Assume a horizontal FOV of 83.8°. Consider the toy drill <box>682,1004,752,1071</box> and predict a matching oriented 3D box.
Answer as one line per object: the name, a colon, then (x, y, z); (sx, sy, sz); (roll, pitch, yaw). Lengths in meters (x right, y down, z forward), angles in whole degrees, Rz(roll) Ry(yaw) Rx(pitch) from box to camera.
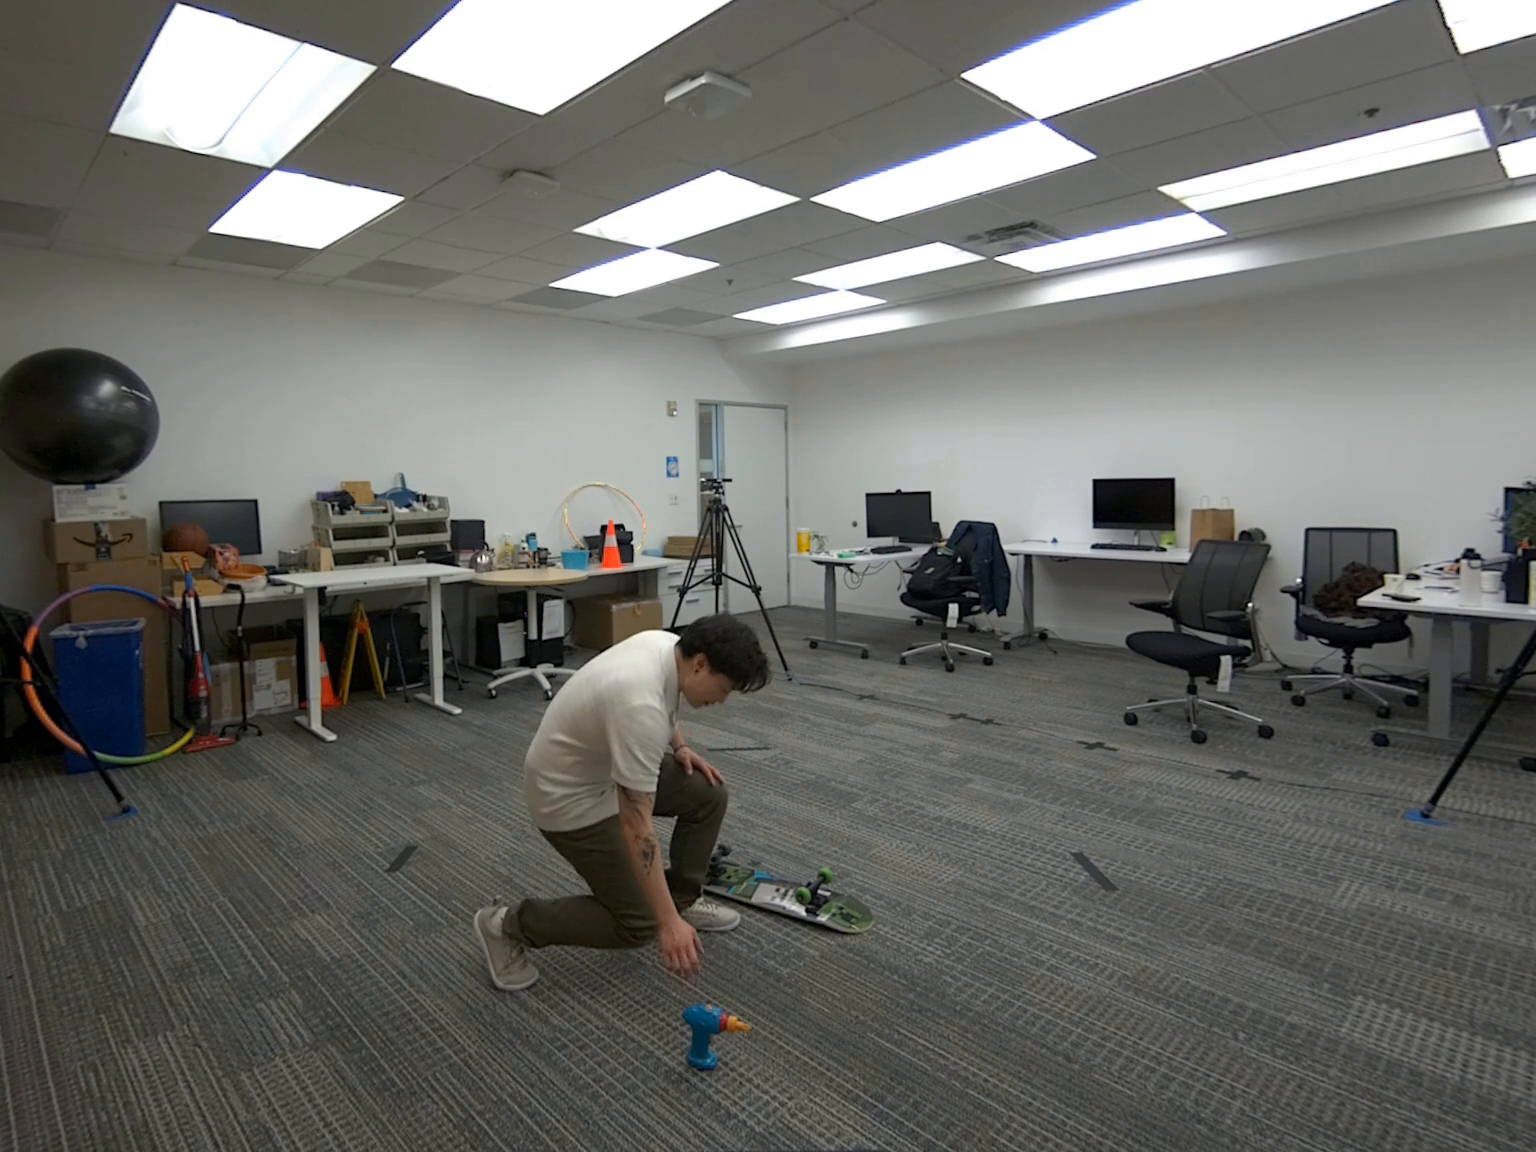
toy drill: (-0.112, 1.097, 2.038); (0.172, 0.145, 0.060); (0, 4, 14)
